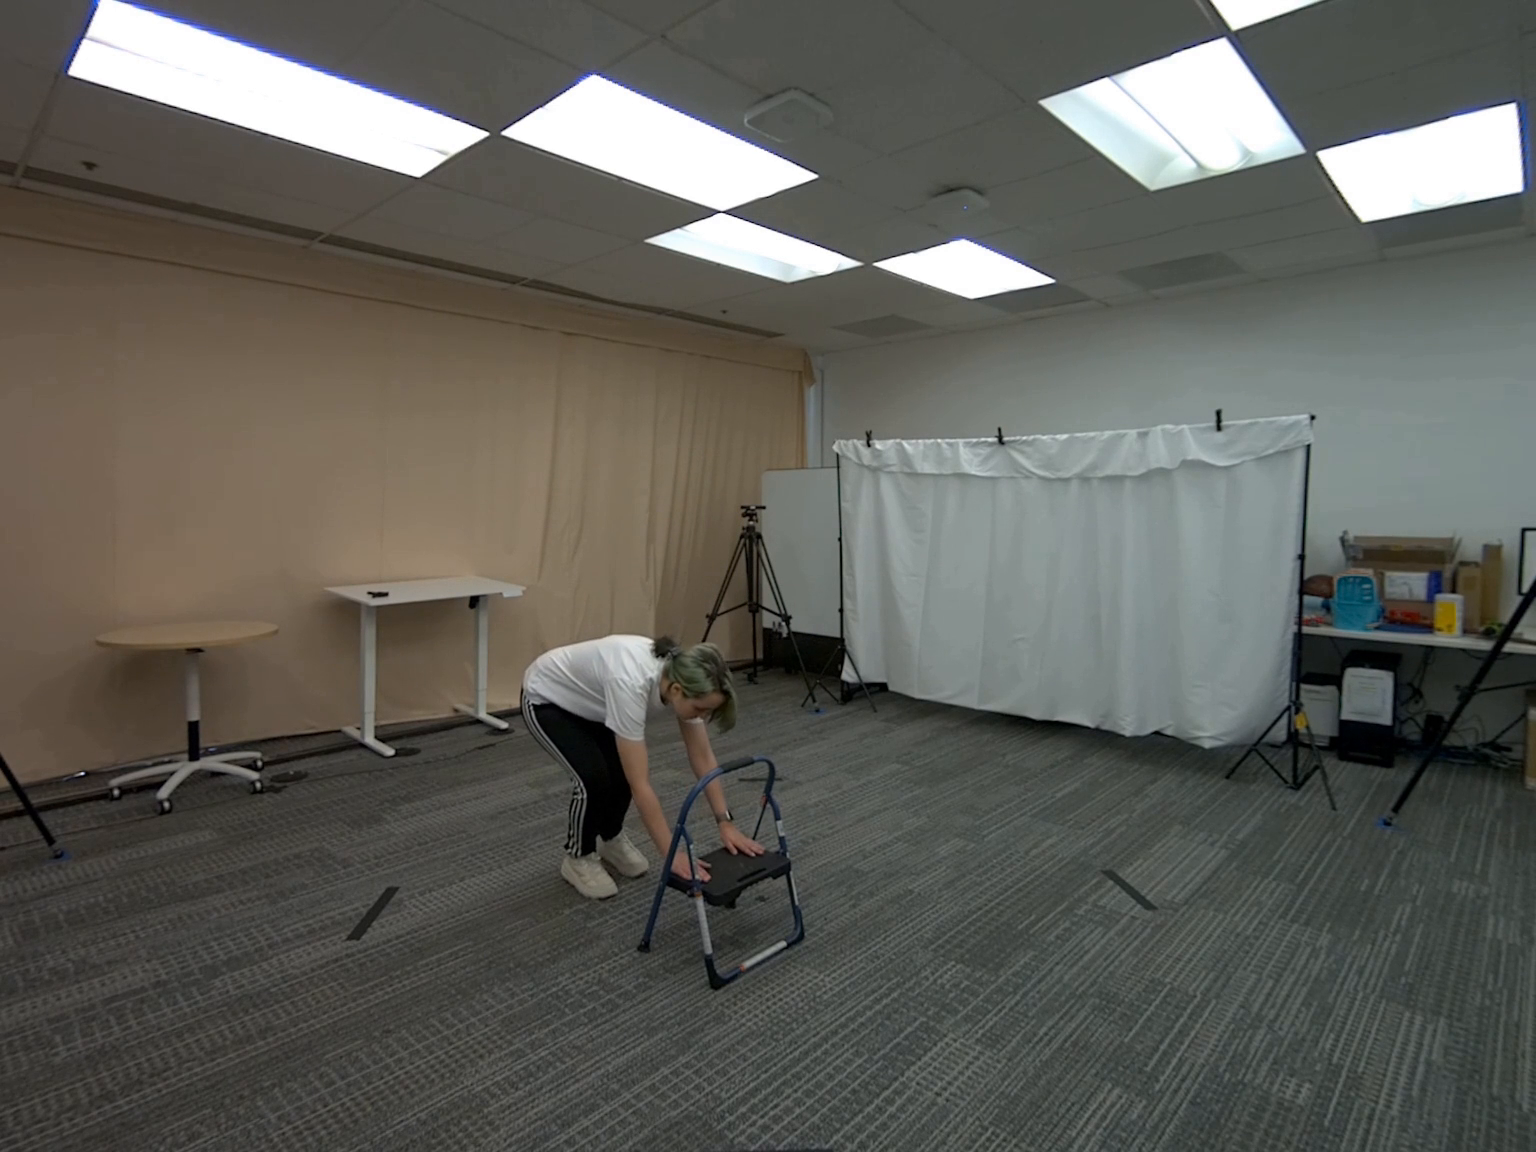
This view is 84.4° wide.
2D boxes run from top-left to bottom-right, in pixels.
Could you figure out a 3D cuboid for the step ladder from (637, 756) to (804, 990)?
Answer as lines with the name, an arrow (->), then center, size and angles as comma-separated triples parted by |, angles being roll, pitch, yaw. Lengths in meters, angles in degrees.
step ladder -> -0.142, 0.868, 2.663 | 0.361, 0.605, 0.417 | 3, 5, 42
